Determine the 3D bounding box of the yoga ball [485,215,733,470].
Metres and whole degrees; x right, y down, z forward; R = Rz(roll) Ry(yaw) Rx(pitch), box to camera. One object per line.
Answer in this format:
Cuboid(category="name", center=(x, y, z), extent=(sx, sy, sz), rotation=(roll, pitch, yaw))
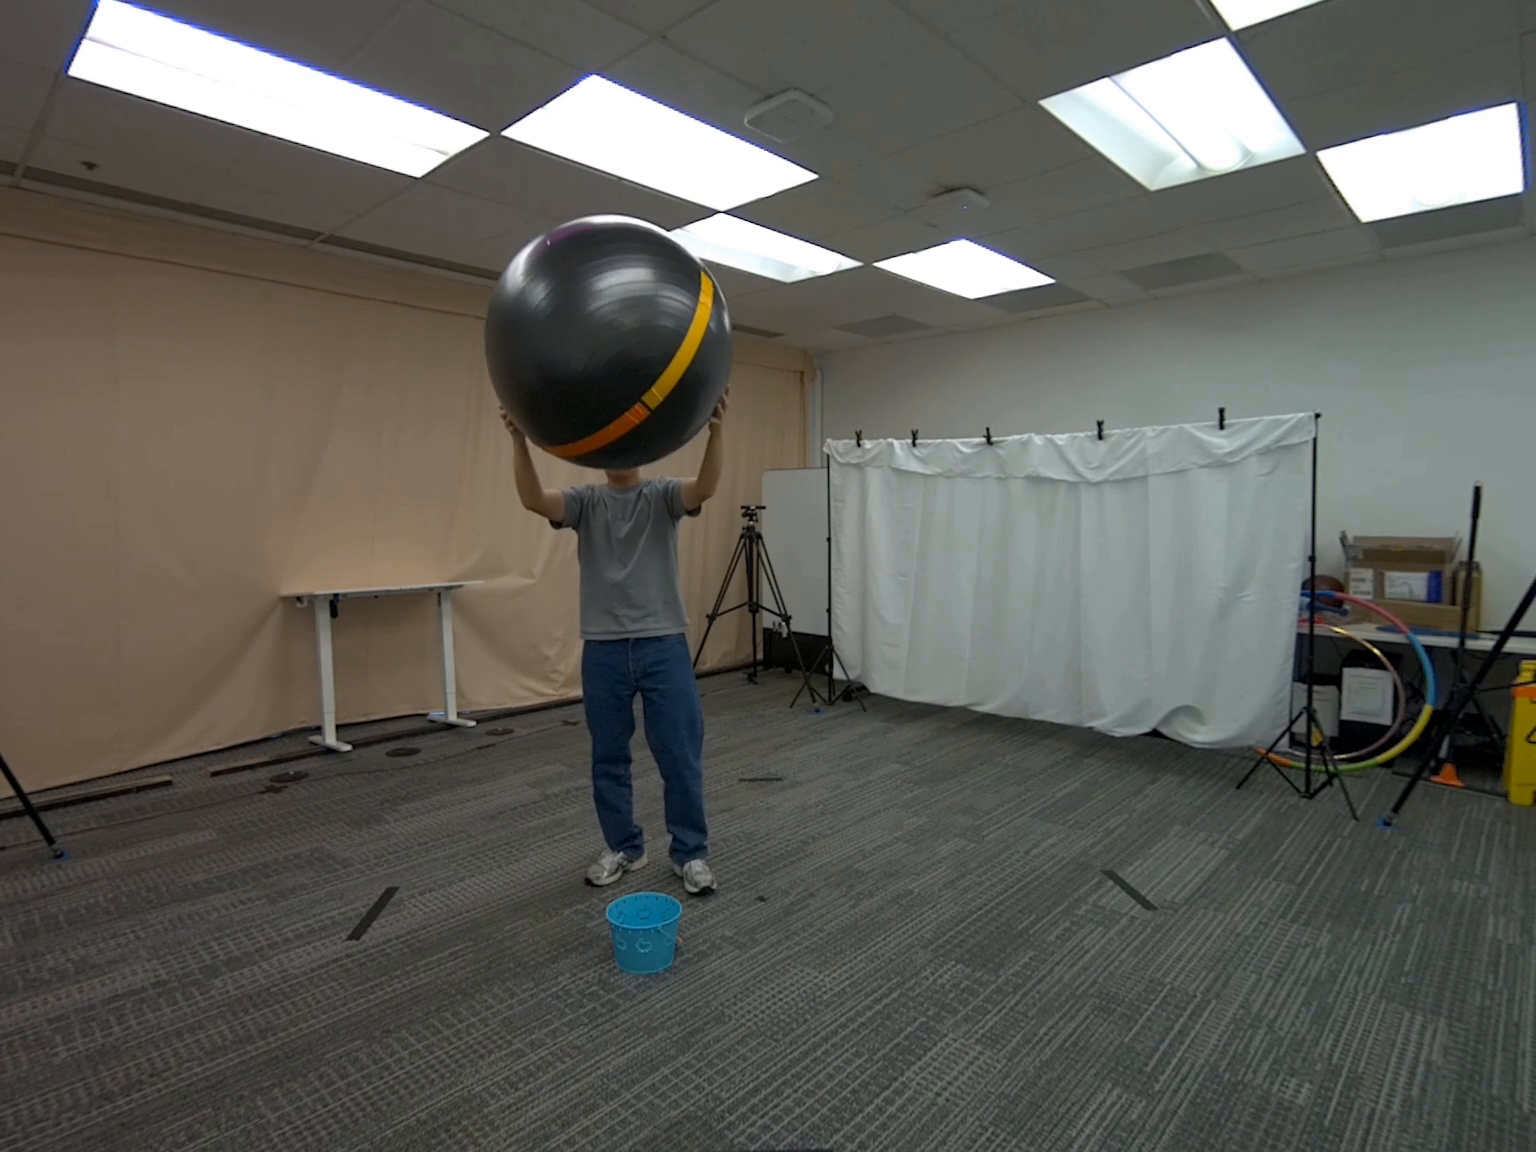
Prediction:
Cuboid(category="yoga ball", center=(-0.490, -0.691, 2.605), extent=(0.757, 0.756, 0.761), rotation=(0, 4, -2))
